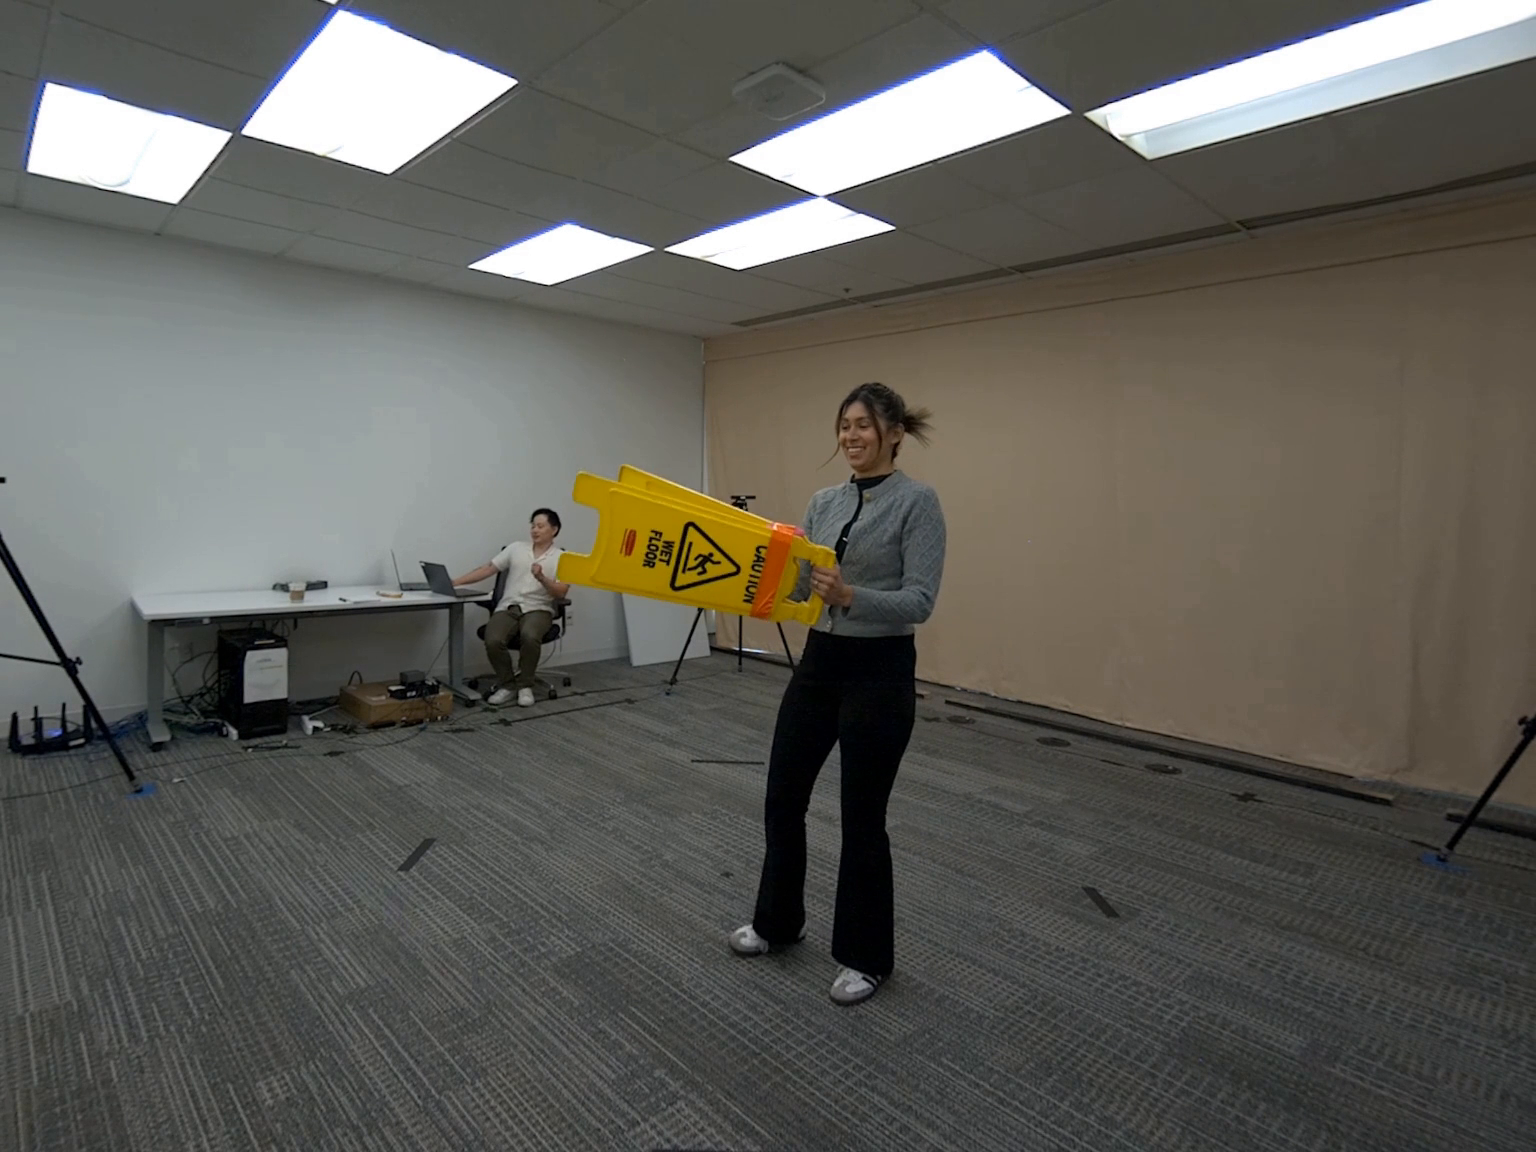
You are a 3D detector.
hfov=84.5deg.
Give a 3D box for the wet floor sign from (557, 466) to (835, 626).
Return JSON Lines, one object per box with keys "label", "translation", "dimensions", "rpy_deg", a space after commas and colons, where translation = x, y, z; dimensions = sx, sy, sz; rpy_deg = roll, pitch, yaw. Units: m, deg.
{"label": "wet floor sign", "translation": [-0.156, -0.056, 2.136], "dimensions": [0.651, 0.280, 0.289], "rpy_deg": [16, 15, 8]}
